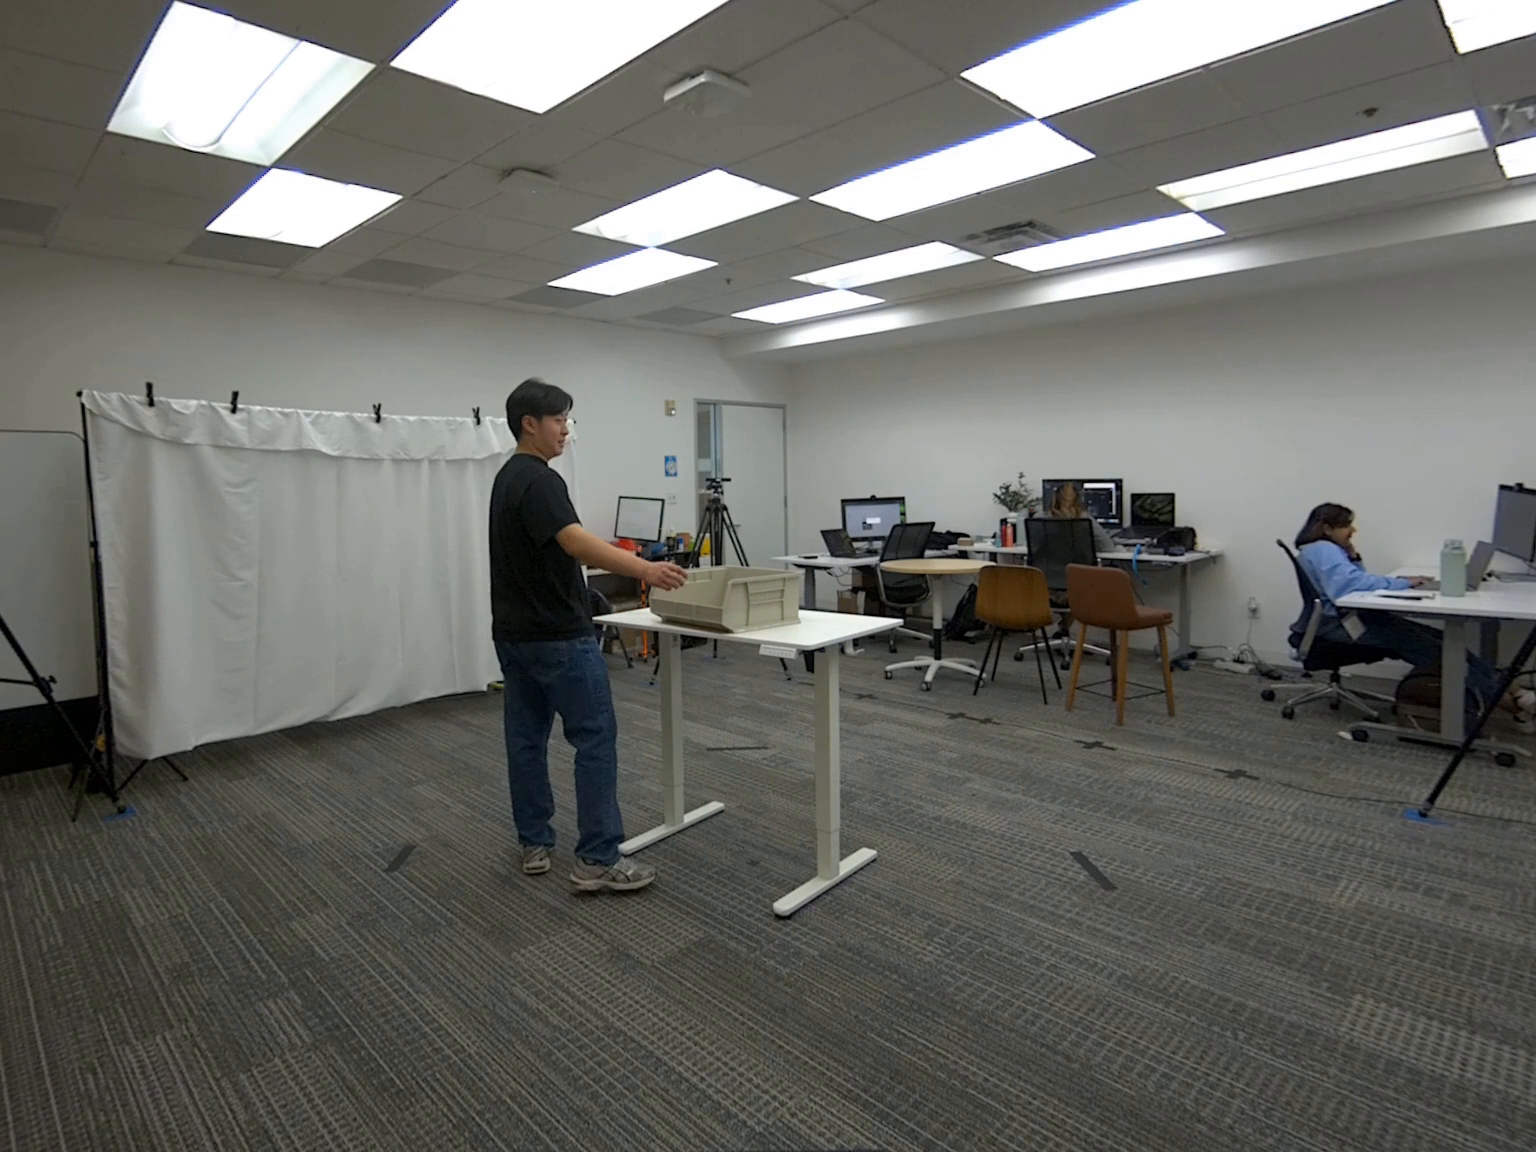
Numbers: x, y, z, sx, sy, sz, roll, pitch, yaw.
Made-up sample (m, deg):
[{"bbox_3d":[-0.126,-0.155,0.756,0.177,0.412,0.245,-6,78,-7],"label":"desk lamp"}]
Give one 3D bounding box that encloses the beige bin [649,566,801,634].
[{"bbox_3d":[-0.150,0.078,3.040,0.367,0.188,0.435,-4,6,-42],"label":"beige bin"}]
